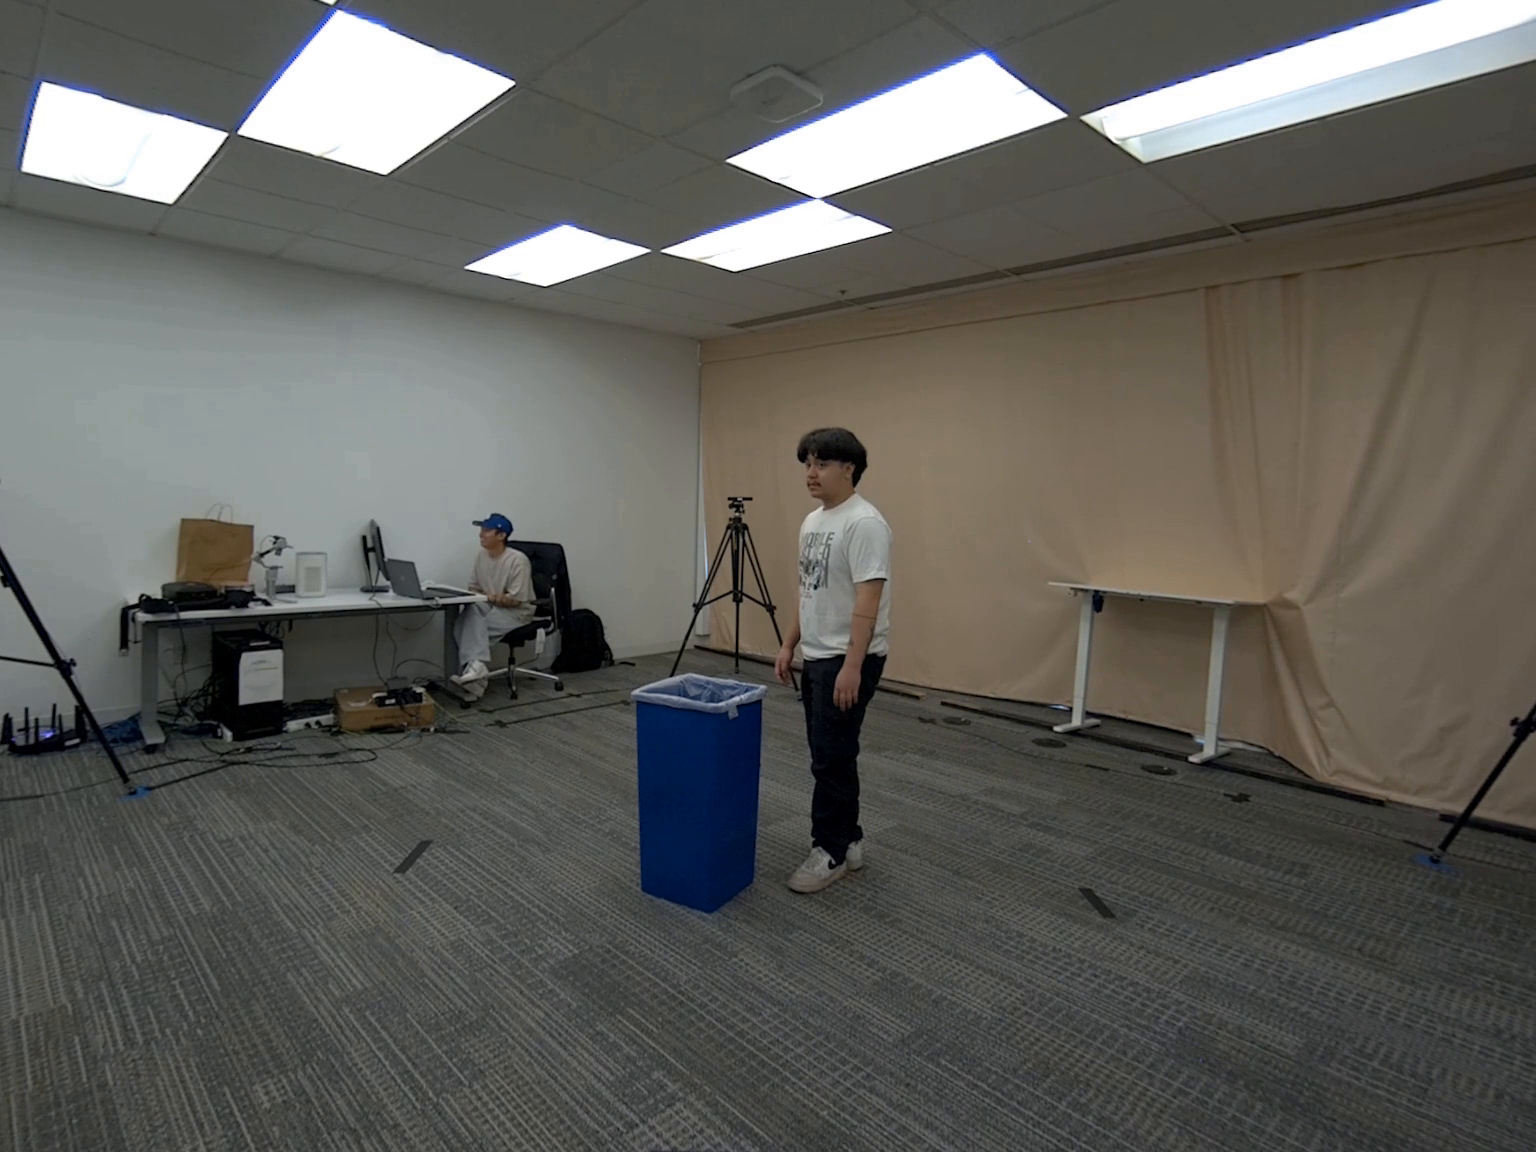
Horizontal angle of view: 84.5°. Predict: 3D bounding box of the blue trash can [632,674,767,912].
[{"bbox_3d":[-0.258,0.756,3.002,0.382,0.712,0.371,3,4,30],"label":"blue trash can"}]
